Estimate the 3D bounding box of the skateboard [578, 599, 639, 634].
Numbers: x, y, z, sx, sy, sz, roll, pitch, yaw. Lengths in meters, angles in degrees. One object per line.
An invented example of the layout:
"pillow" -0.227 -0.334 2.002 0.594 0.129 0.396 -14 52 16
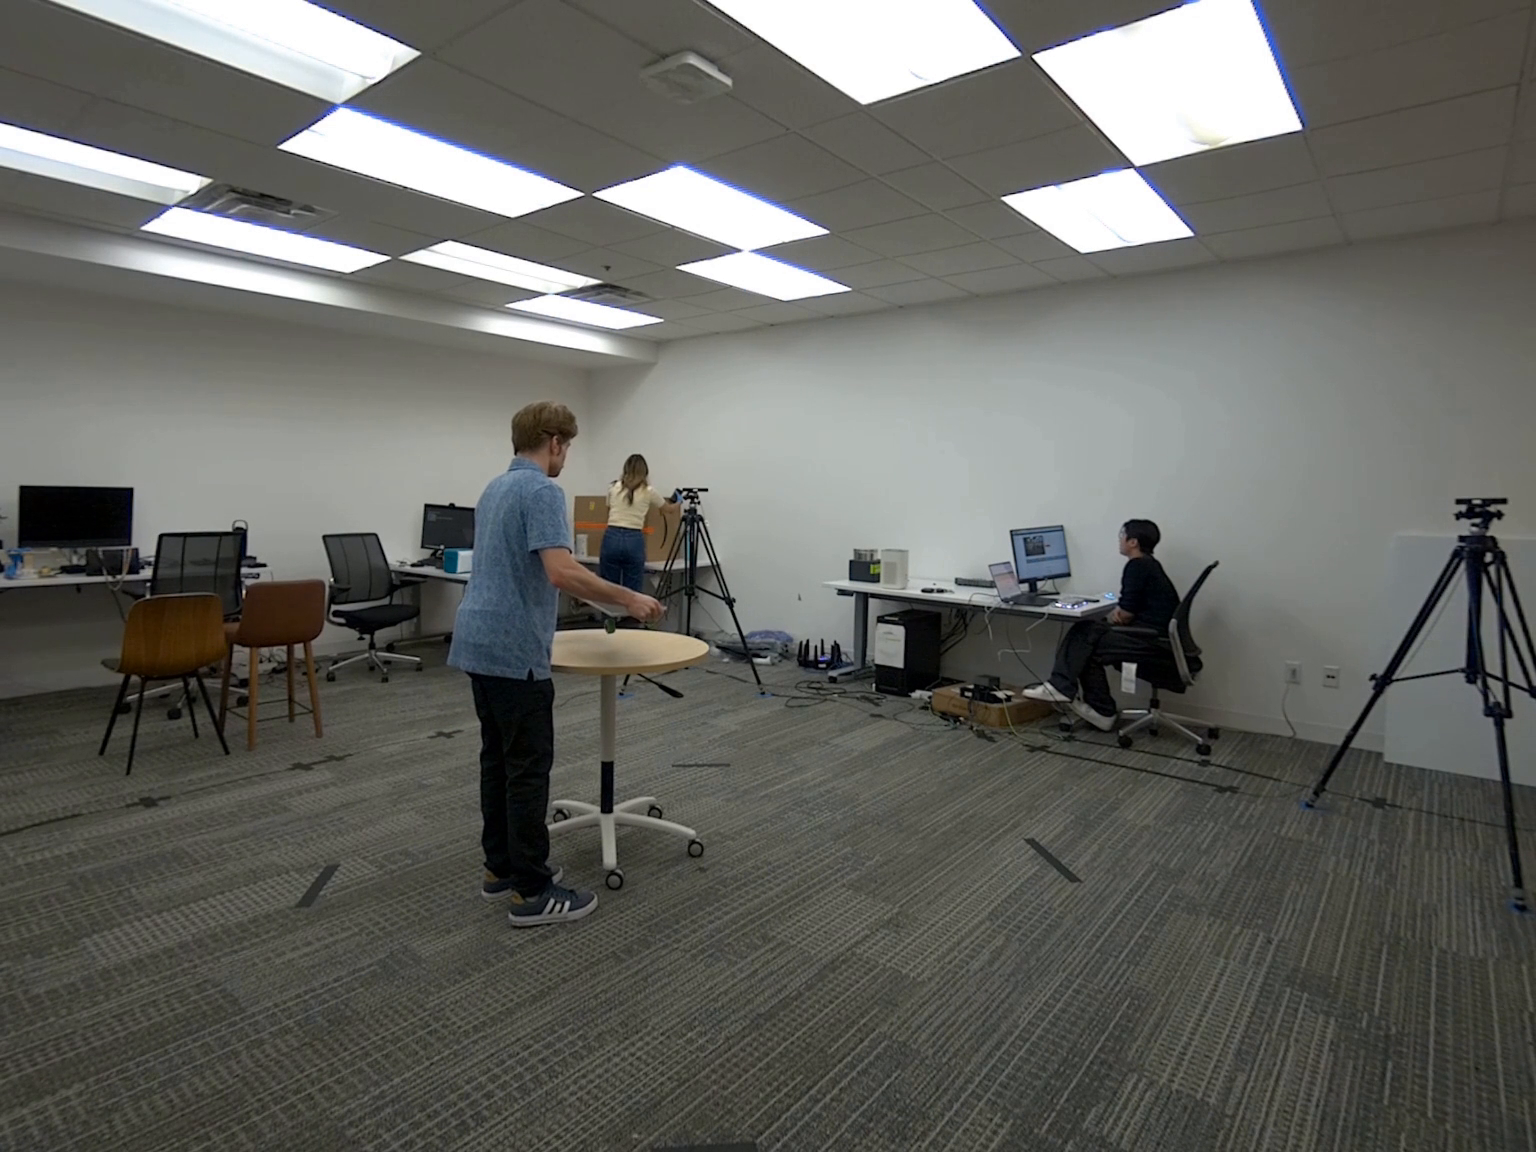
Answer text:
"skateboard" -0.610 0.112 3.185 0.189 0.109 0.809 -9 11 -25
